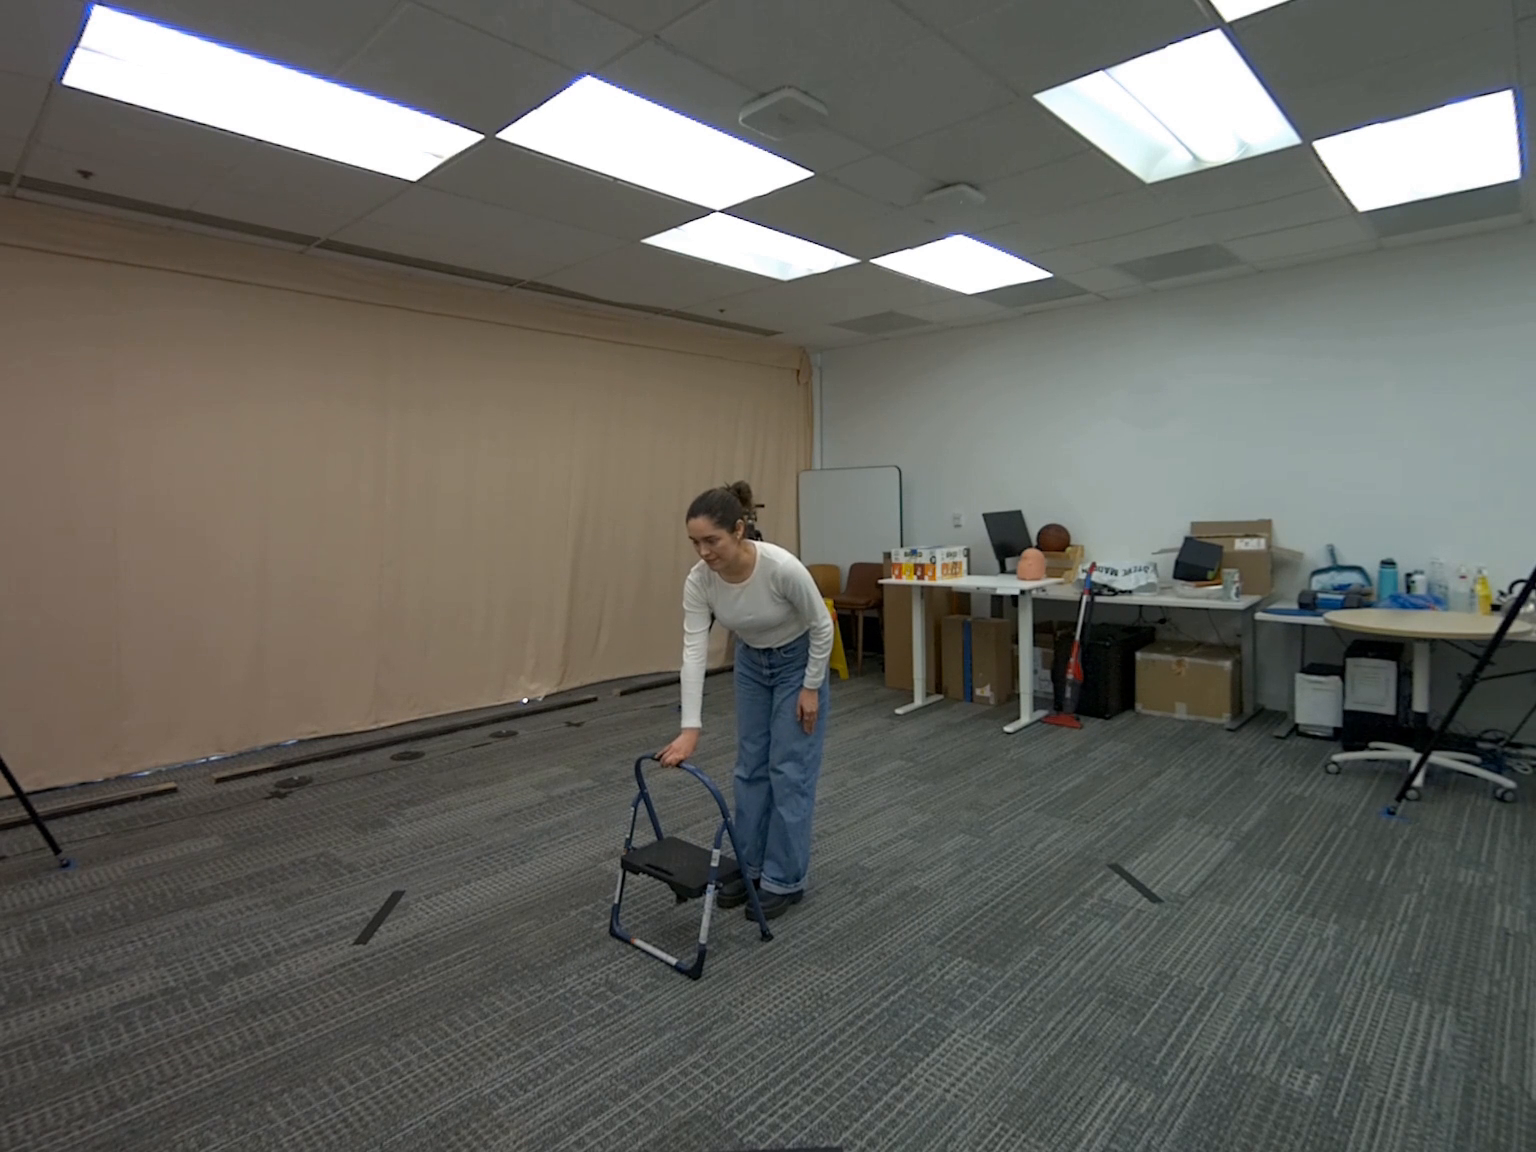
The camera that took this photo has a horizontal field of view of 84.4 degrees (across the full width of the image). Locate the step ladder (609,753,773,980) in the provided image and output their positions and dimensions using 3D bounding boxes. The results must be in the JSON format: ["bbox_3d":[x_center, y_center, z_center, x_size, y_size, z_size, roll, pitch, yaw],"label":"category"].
[{"bbox_3d":[-0.258,0.865,2.711,0.445,0.605,0.339,2,4,42],"label":"step ladder"}]
